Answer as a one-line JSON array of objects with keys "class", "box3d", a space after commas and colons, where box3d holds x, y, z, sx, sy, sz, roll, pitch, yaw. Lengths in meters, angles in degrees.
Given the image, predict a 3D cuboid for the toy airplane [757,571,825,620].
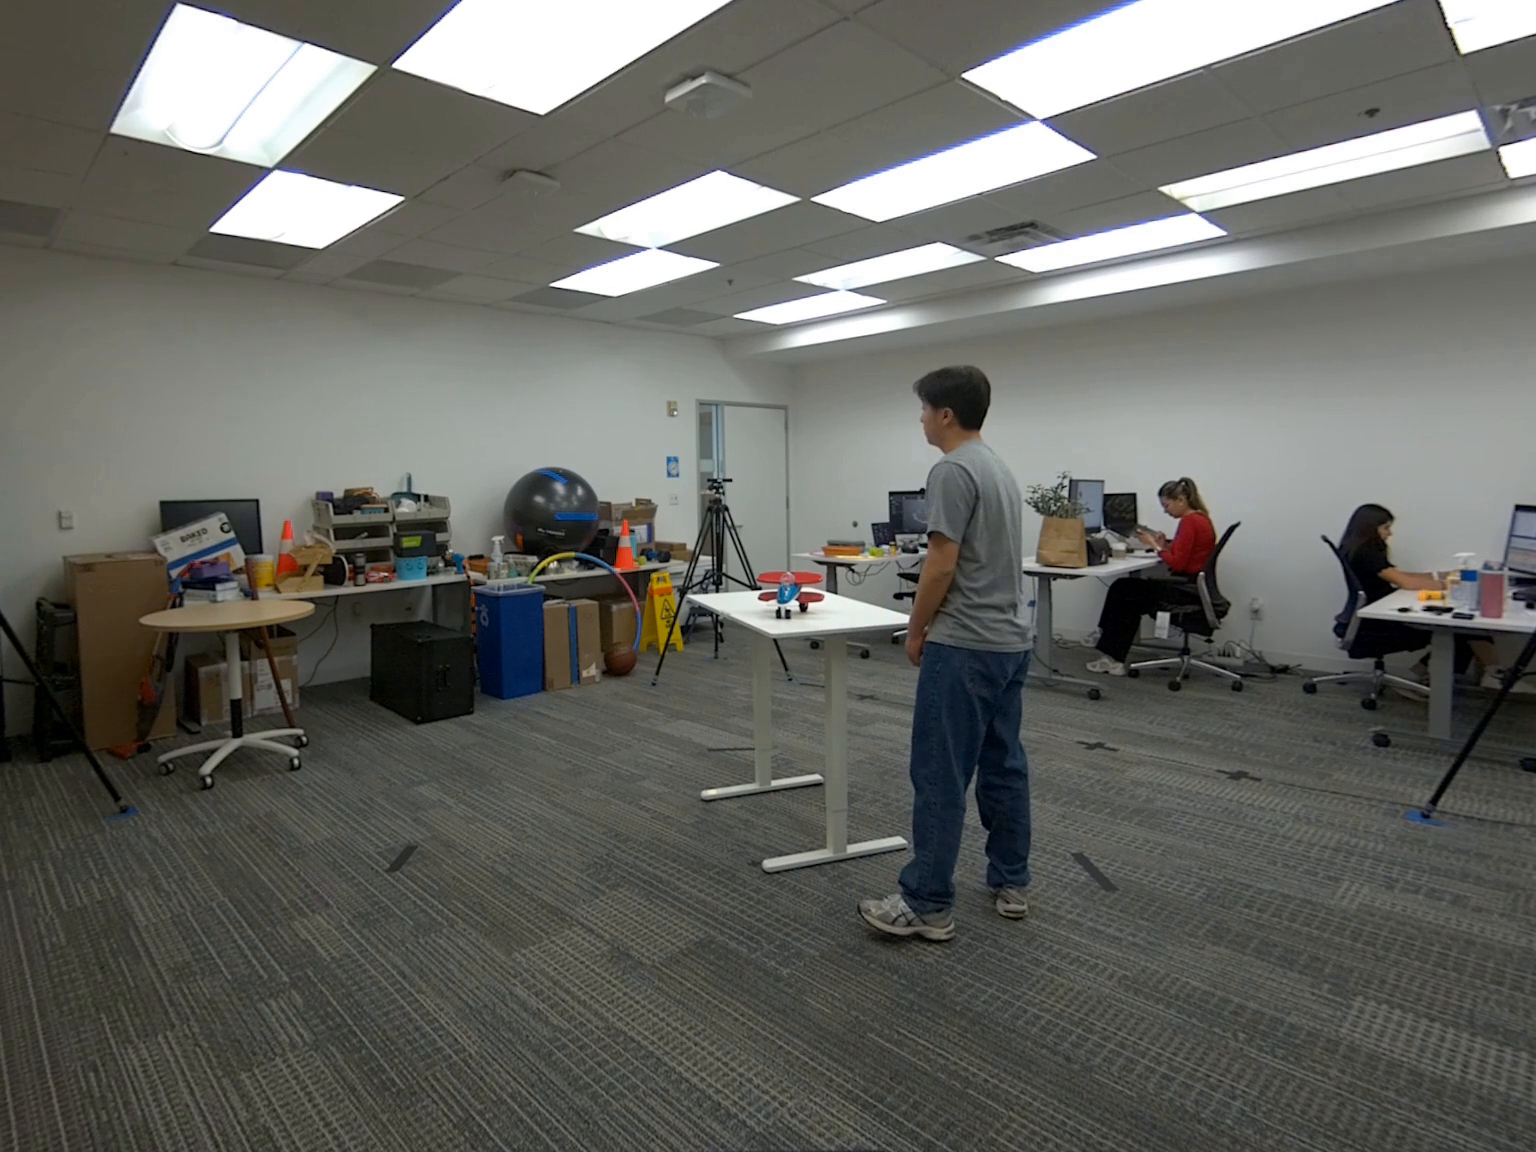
[{"class": "toy airplane", "box3d": [0.100, 0.067, 3.231, 0.247, 0.156, 0.264, -3, 5, -16]}]
